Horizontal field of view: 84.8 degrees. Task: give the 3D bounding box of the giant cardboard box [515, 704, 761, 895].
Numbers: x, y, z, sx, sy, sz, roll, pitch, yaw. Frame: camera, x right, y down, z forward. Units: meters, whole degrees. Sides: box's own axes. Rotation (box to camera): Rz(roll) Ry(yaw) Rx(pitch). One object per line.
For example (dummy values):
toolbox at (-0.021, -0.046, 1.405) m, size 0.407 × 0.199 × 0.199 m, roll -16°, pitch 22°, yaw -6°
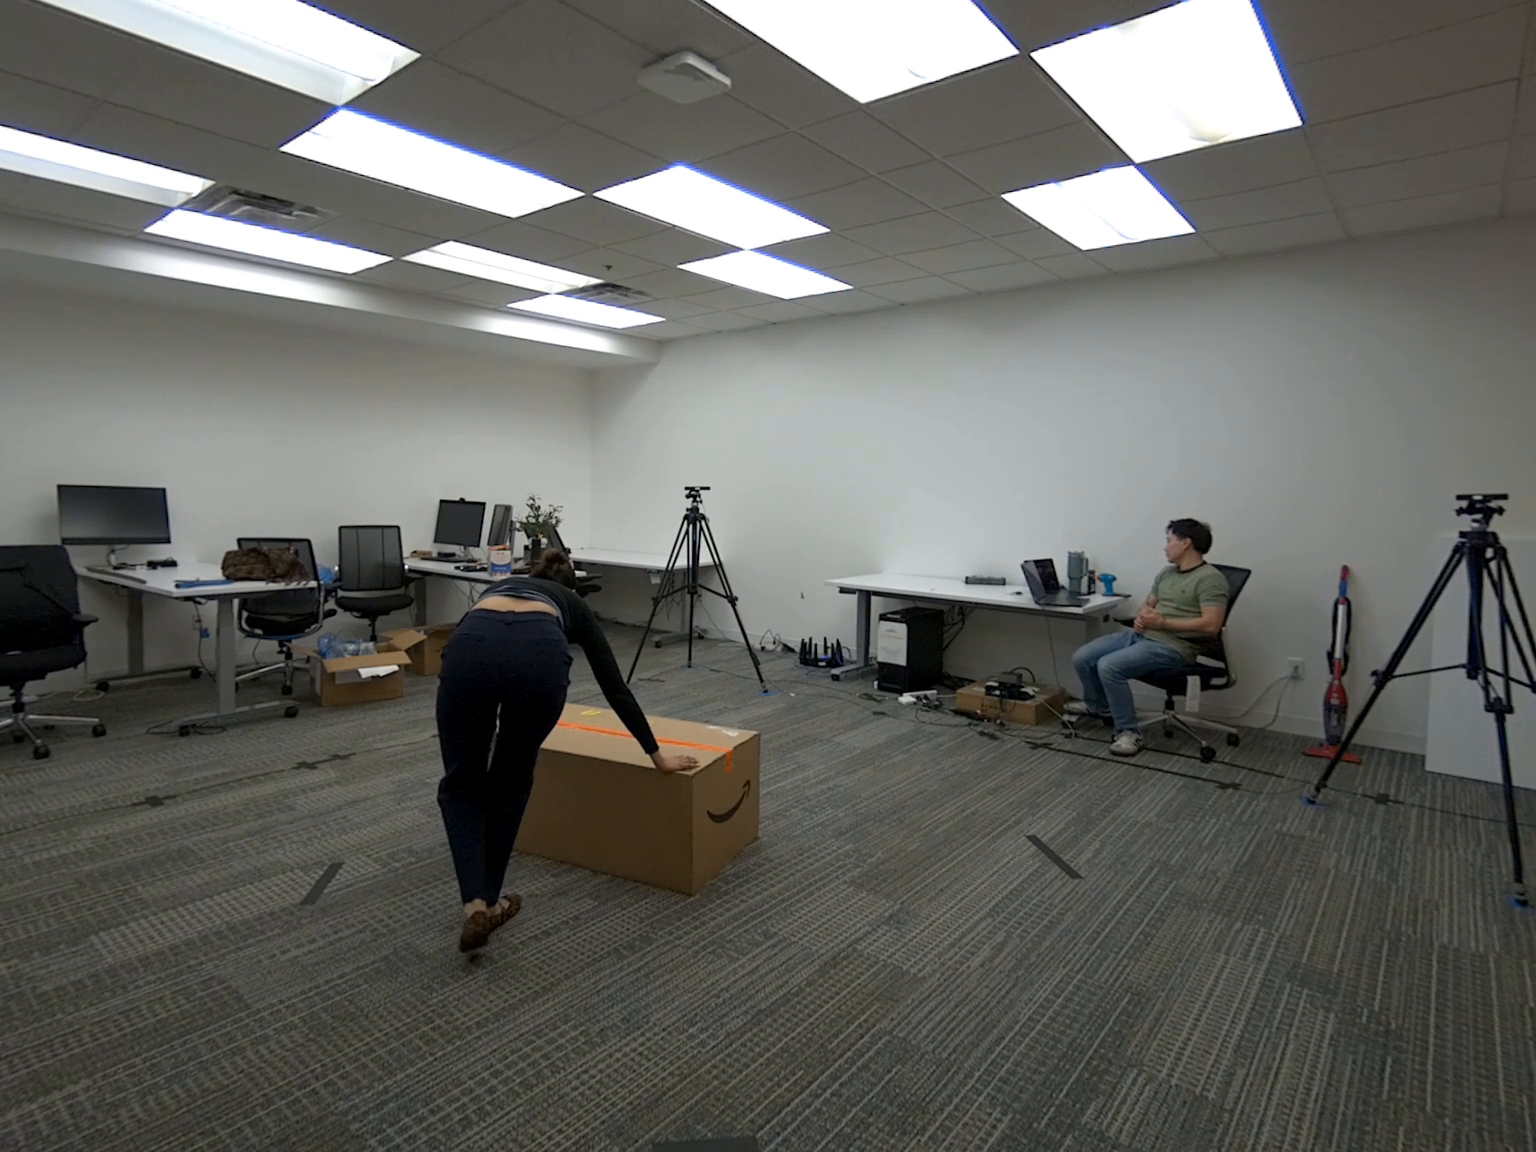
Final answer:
giant cardboard box at (-0.615, 0.823, 3.360) m, size 1.053 × 0.424 × 0.565 m, roll 3°, pitch 6°, yaw 26°
